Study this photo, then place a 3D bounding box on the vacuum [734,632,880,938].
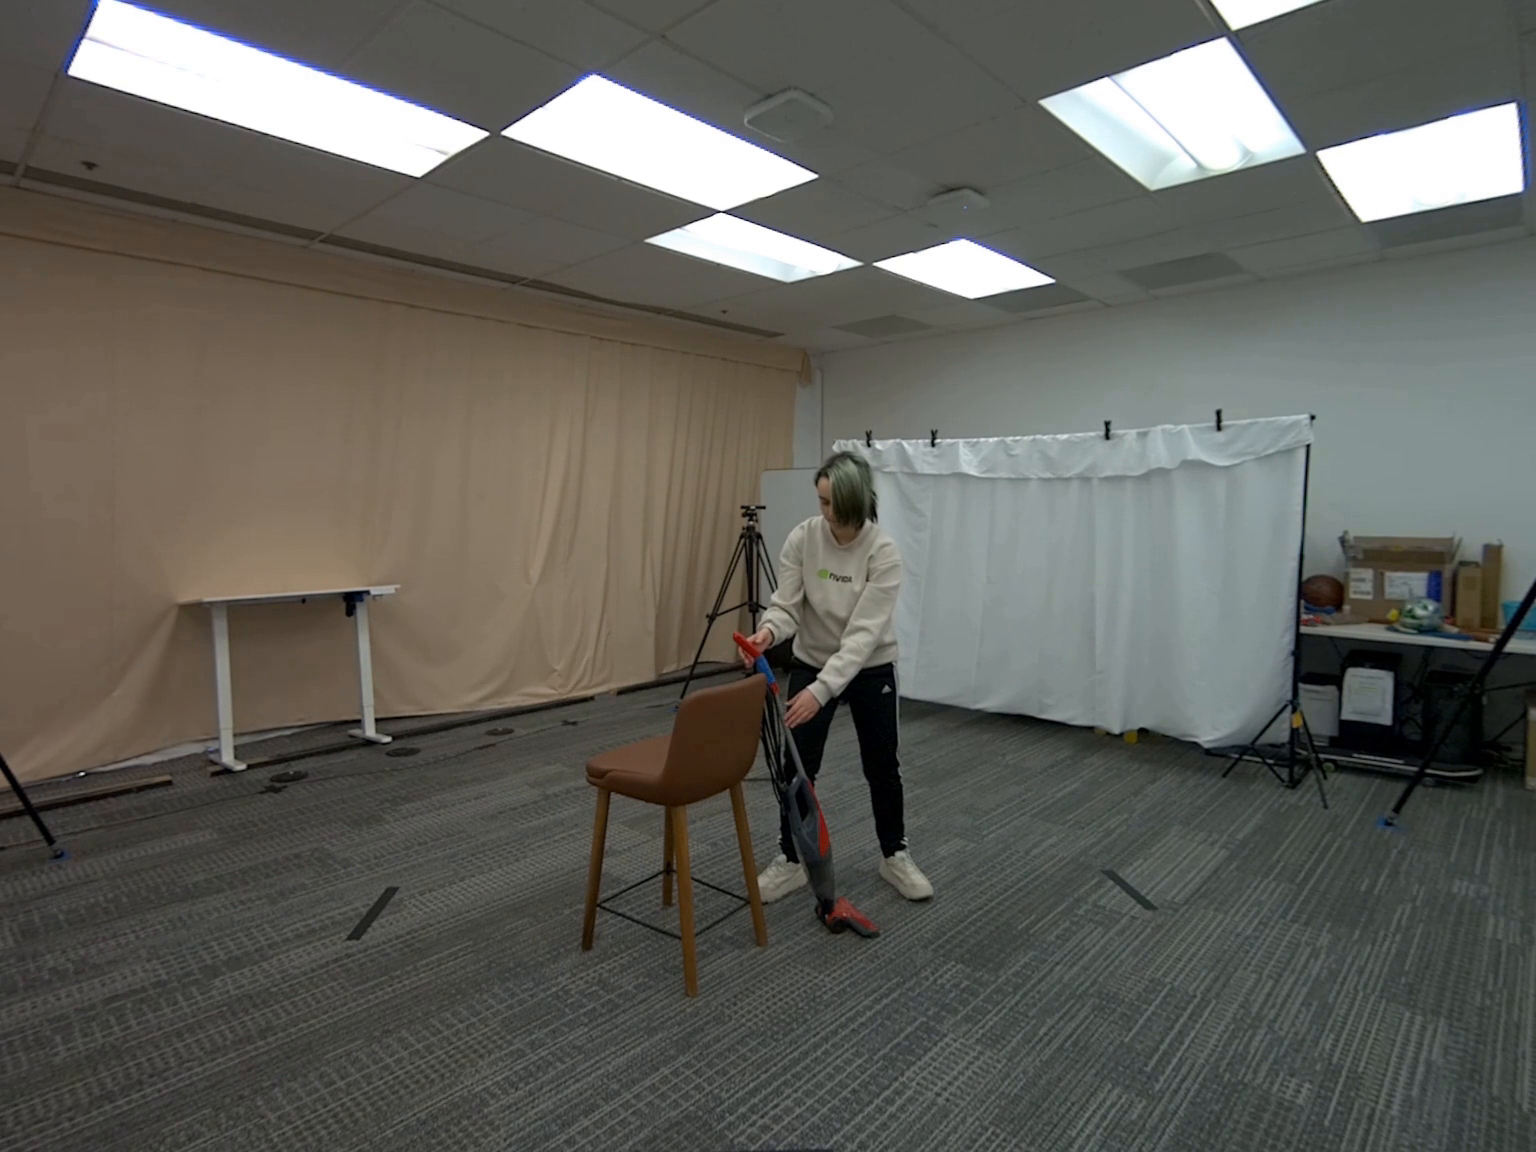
[{"bbox_3d":[0.084,0.673,2.740,0.142,1.040,0.258,-23,9,-23],"label":"vacuum"}]
